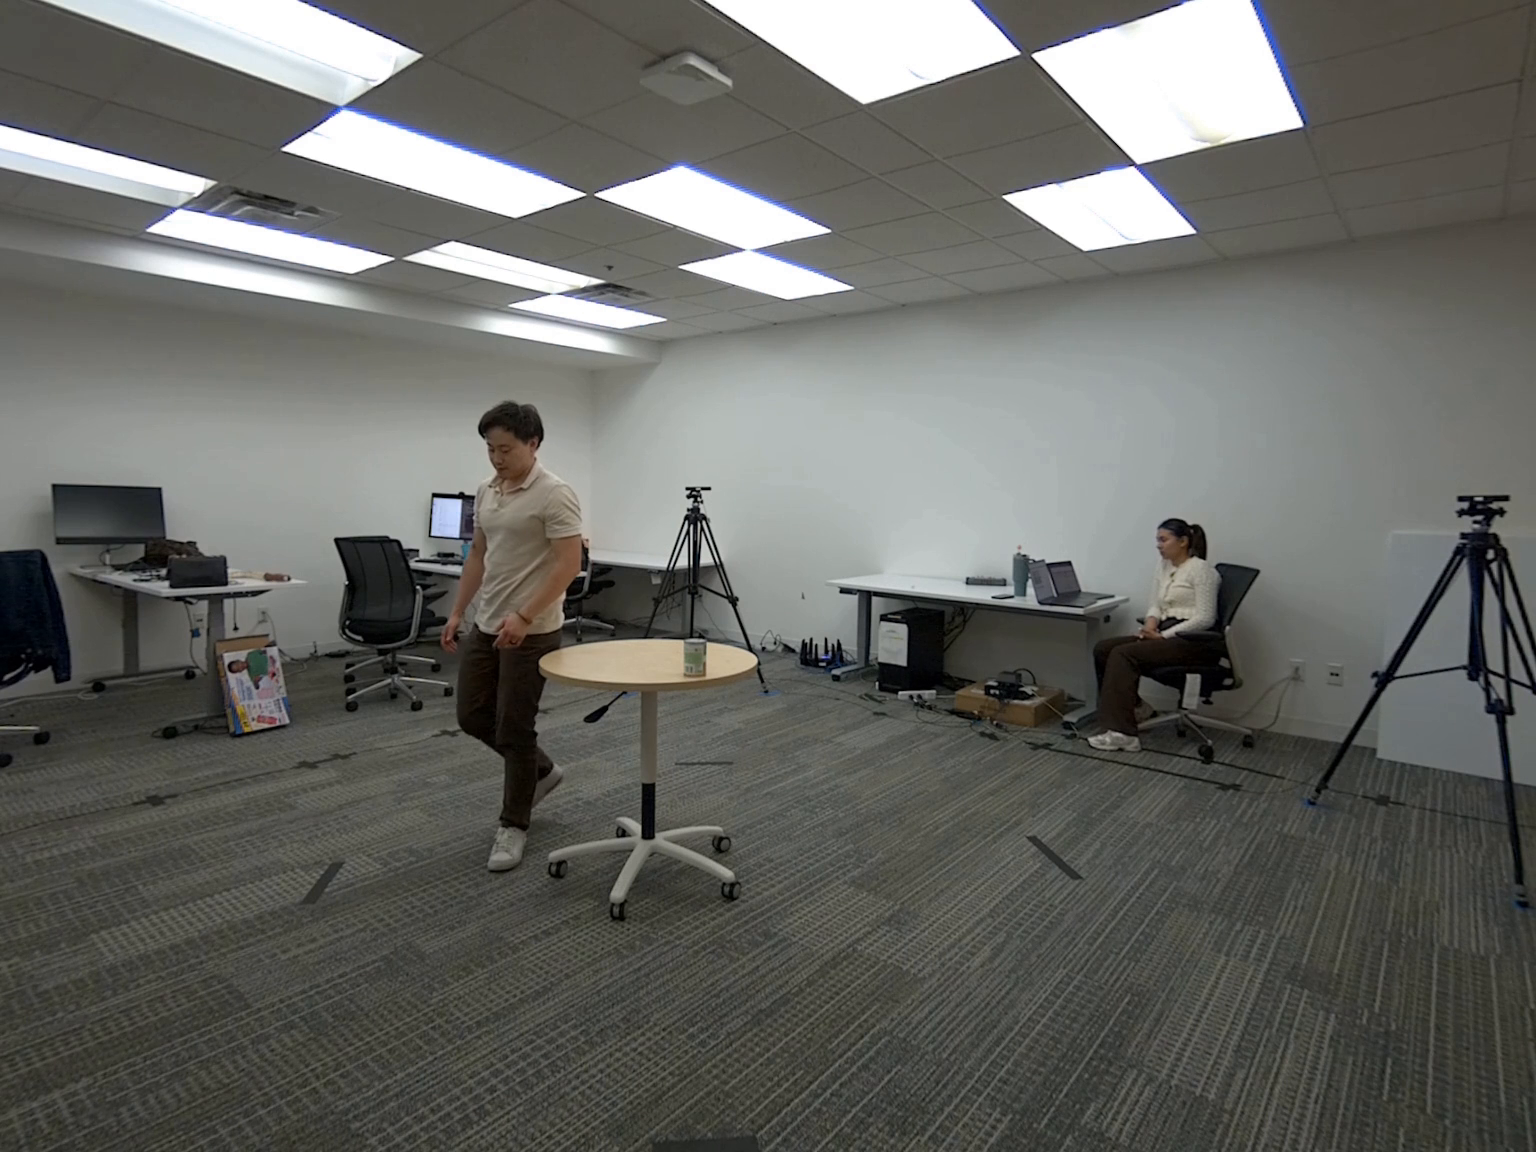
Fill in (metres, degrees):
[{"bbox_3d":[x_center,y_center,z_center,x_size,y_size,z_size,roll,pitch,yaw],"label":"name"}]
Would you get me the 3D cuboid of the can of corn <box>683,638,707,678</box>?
[{"bbox_3d":[-0.241,0.262,2.739,0.074,0.110,0.074,2,5,-2],"label":"can of corn"}]
